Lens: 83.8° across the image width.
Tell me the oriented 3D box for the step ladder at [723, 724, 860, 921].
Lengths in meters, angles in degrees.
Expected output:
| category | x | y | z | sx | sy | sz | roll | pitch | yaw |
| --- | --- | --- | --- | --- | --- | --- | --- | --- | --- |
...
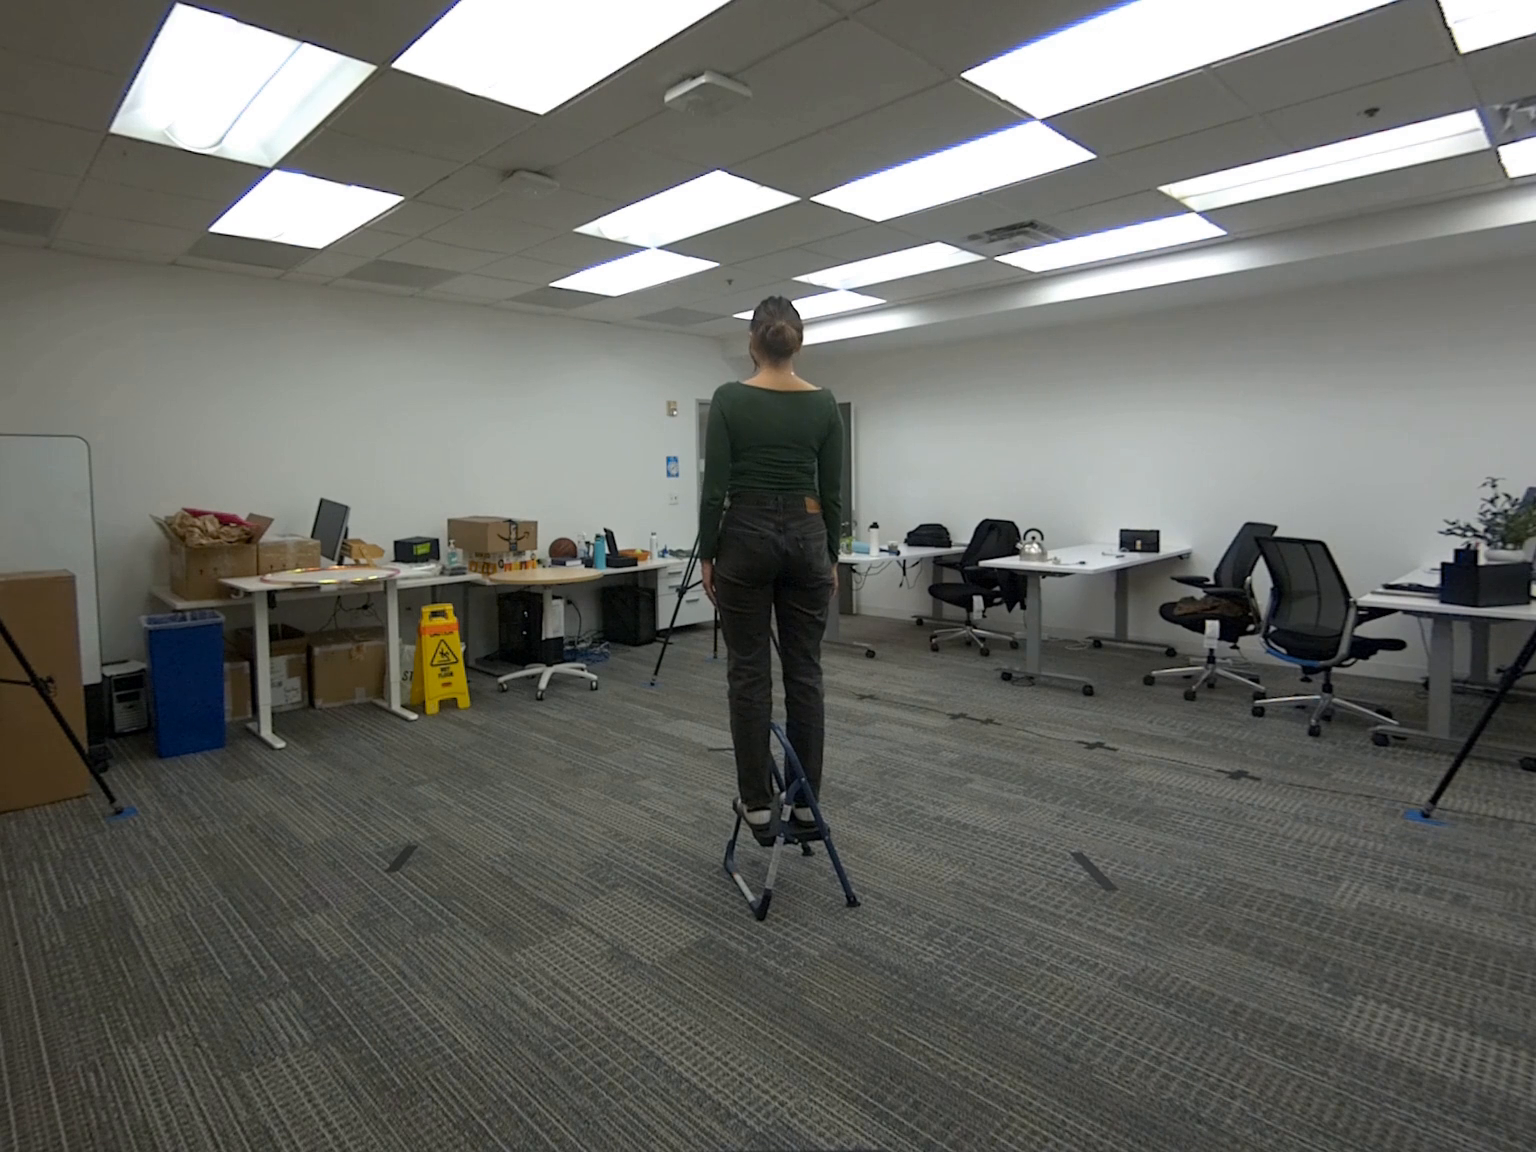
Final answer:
| category | x | y | z | sx | sy | sz | roll | pitch | yaw |
| --- | --- | --- | --- | --- | --- | --- | --- | --- | --- |
| step ladder | 0.062 | 0.760 | 2.925 | 0.344 | 0.604 | 0.439 | -3 | 4 | -18 |
